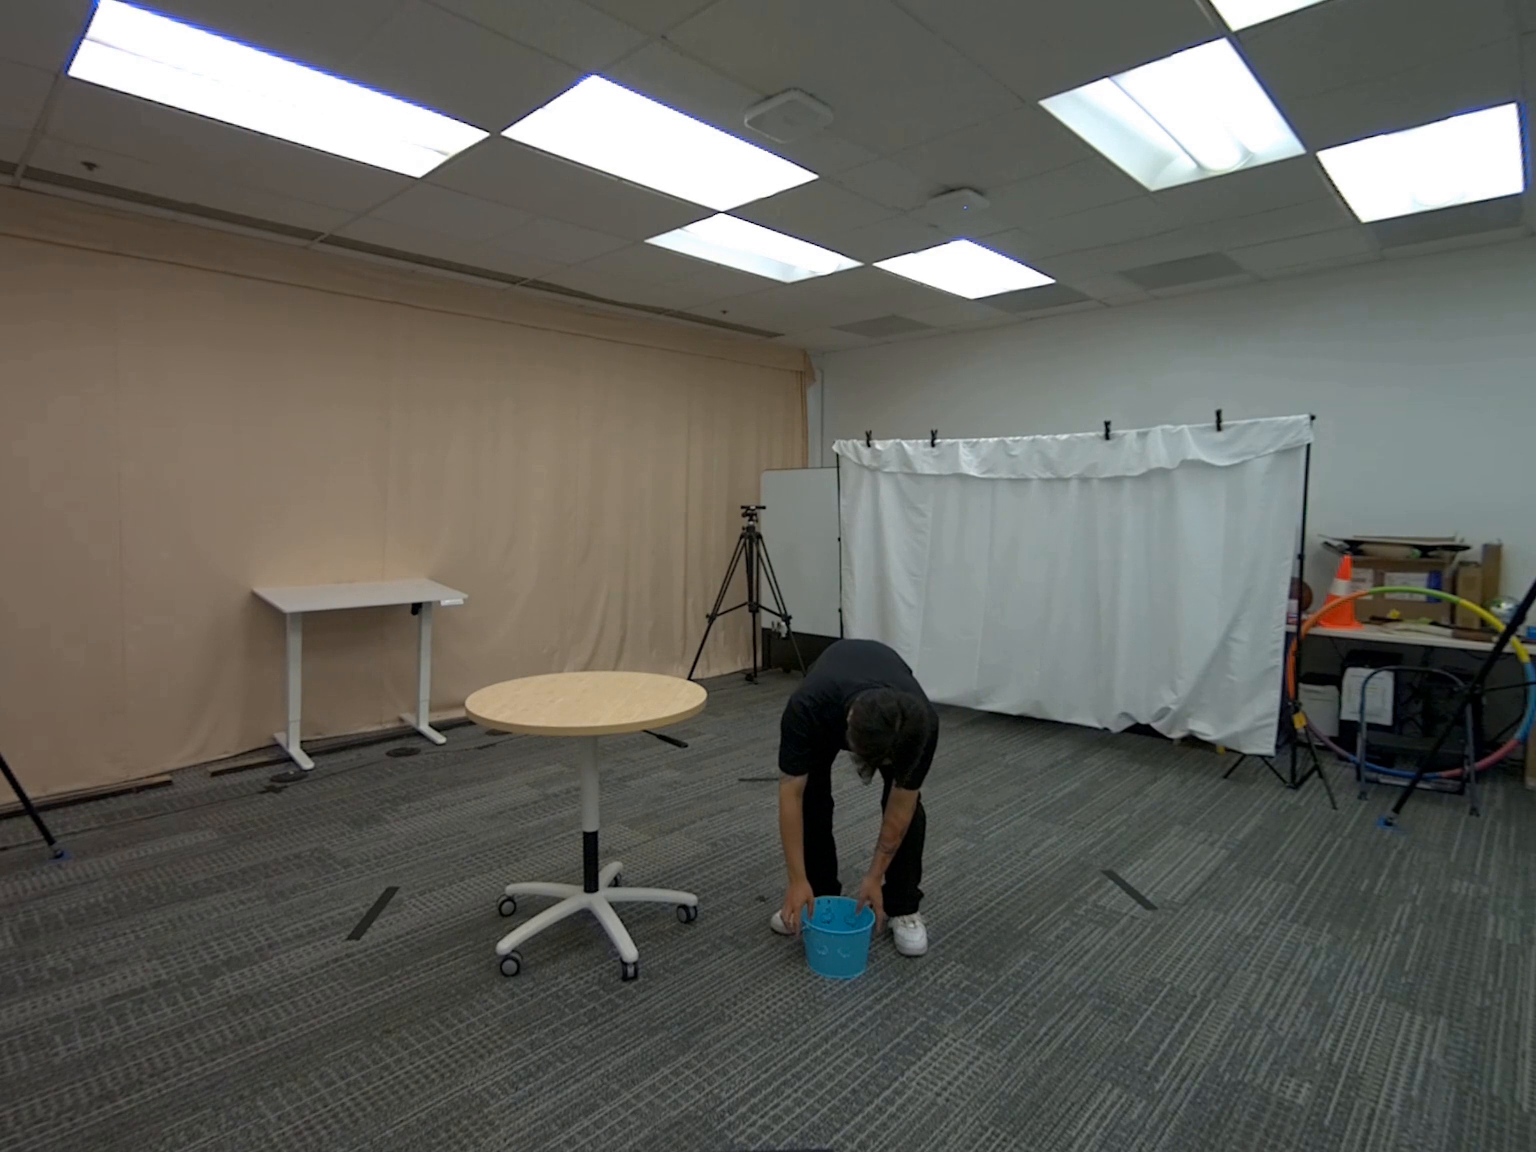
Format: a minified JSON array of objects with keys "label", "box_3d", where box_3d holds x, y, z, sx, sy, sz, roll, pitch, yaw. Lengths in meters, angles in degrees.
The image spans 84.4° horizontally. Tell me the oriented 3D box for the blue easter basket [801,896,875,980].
[{"label":"blue easter basket","box_3d":[0.208,1.096,2.574,0.243,0.155,0.244,0,3,-2]}]
